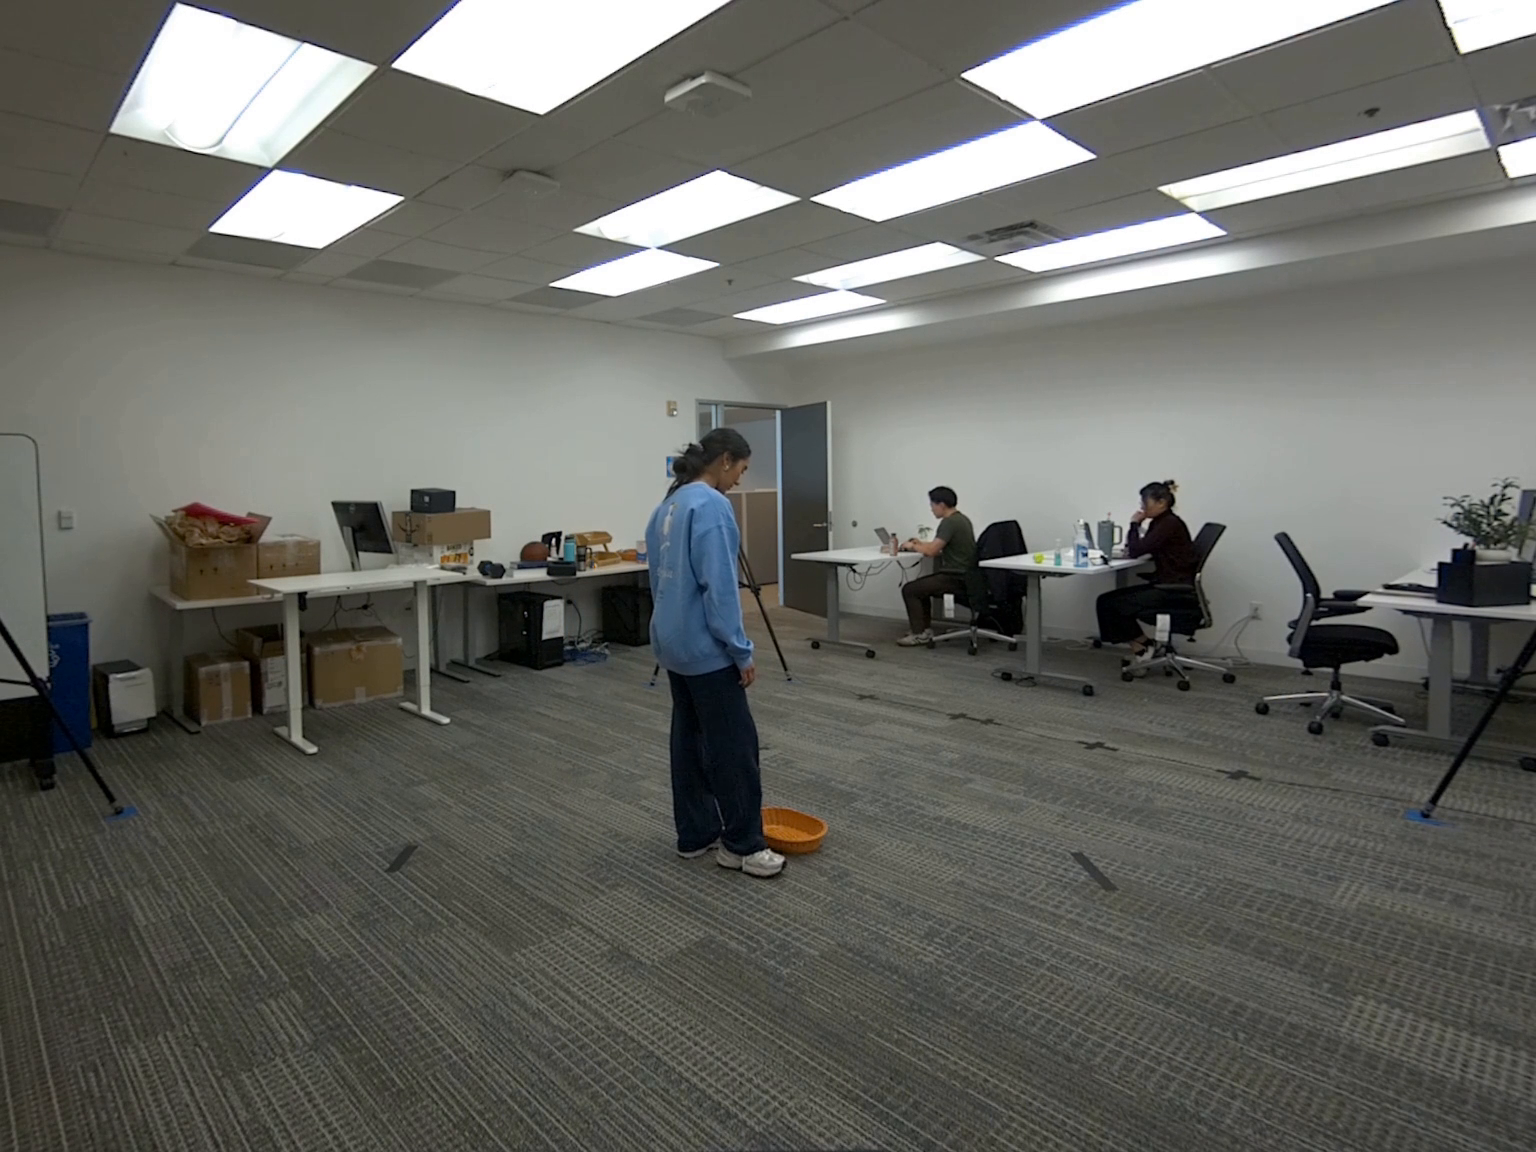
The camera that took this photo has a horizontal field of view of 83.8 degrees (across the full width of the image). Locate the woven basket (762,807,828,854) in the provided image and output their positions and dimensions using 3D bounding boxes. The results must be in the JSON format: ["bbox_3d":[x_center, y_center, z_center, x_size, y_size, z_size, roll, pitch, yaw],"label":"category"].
[{"bbox_3d":[0.062,0.981,3.289,0.361,0.073,0.246,5,9,44],"label":"woven basket"}]
